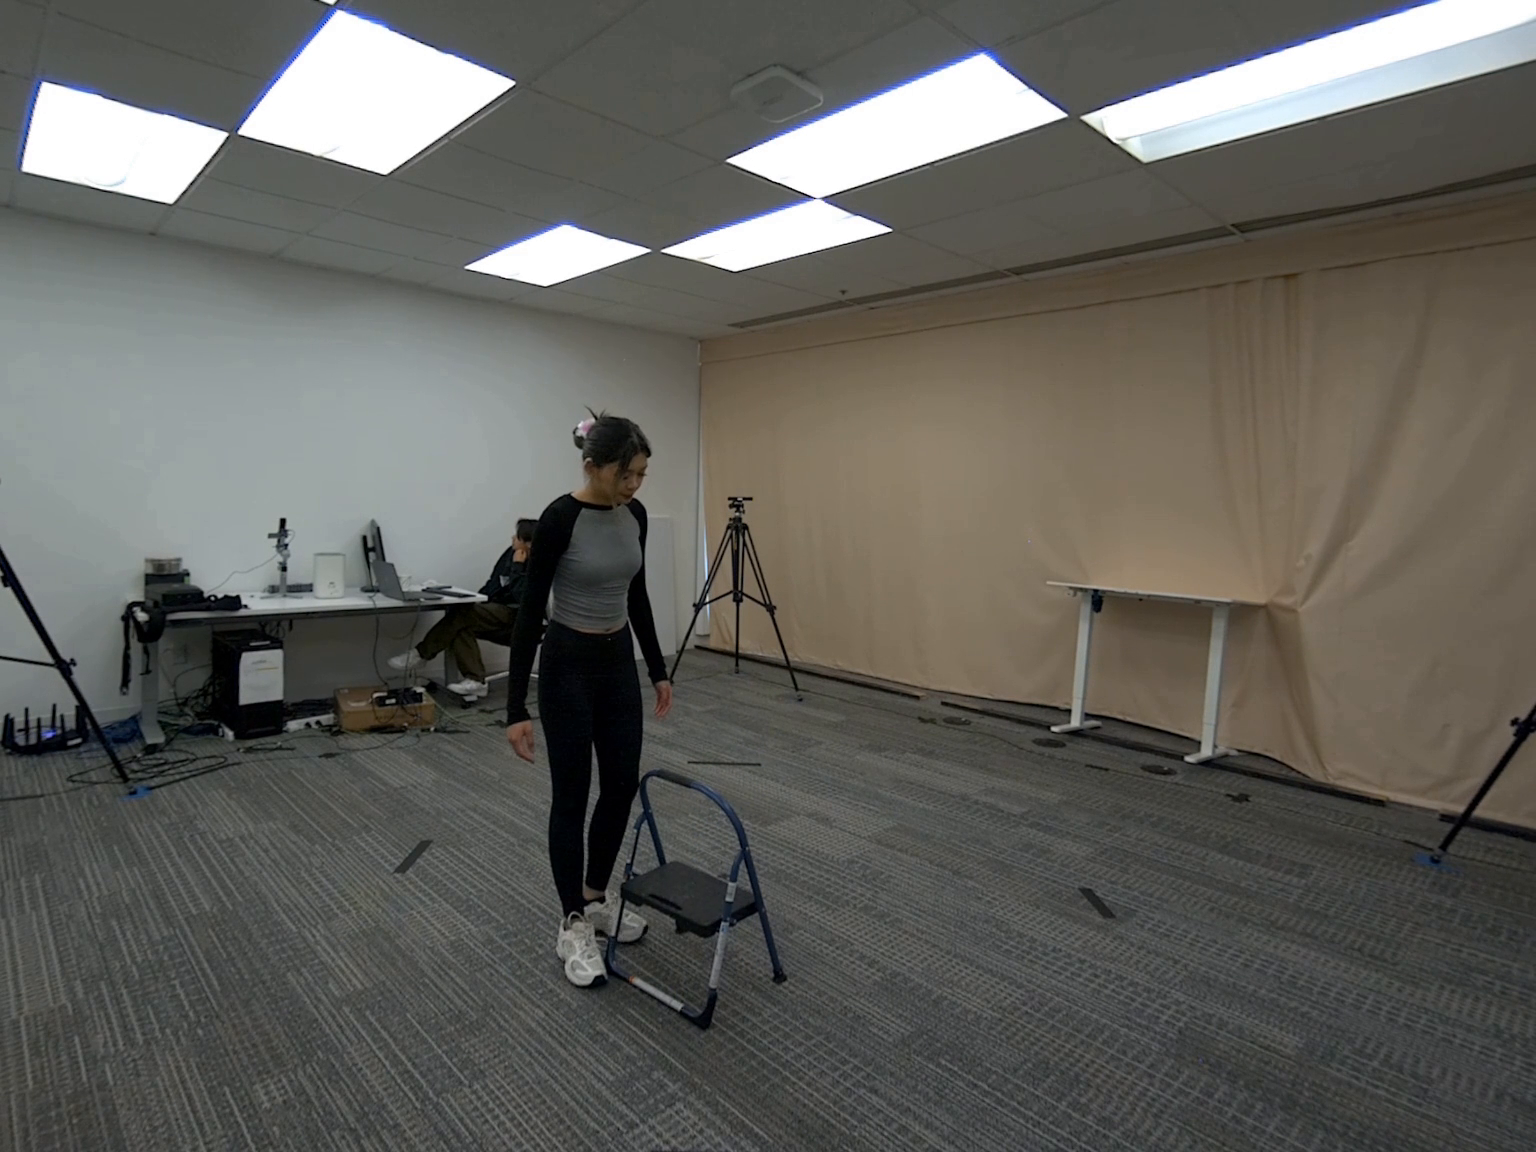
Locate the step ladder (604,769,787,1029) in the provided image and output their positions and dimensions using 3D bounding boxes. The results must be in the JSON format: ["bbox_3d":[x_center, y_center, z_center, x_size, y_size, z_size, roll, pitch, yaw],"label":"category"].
[{"bbox_3d":[-0.215,0.866,2.439,0.441,0.605,0.341,4,4,39],"label":"step ladder"}]
